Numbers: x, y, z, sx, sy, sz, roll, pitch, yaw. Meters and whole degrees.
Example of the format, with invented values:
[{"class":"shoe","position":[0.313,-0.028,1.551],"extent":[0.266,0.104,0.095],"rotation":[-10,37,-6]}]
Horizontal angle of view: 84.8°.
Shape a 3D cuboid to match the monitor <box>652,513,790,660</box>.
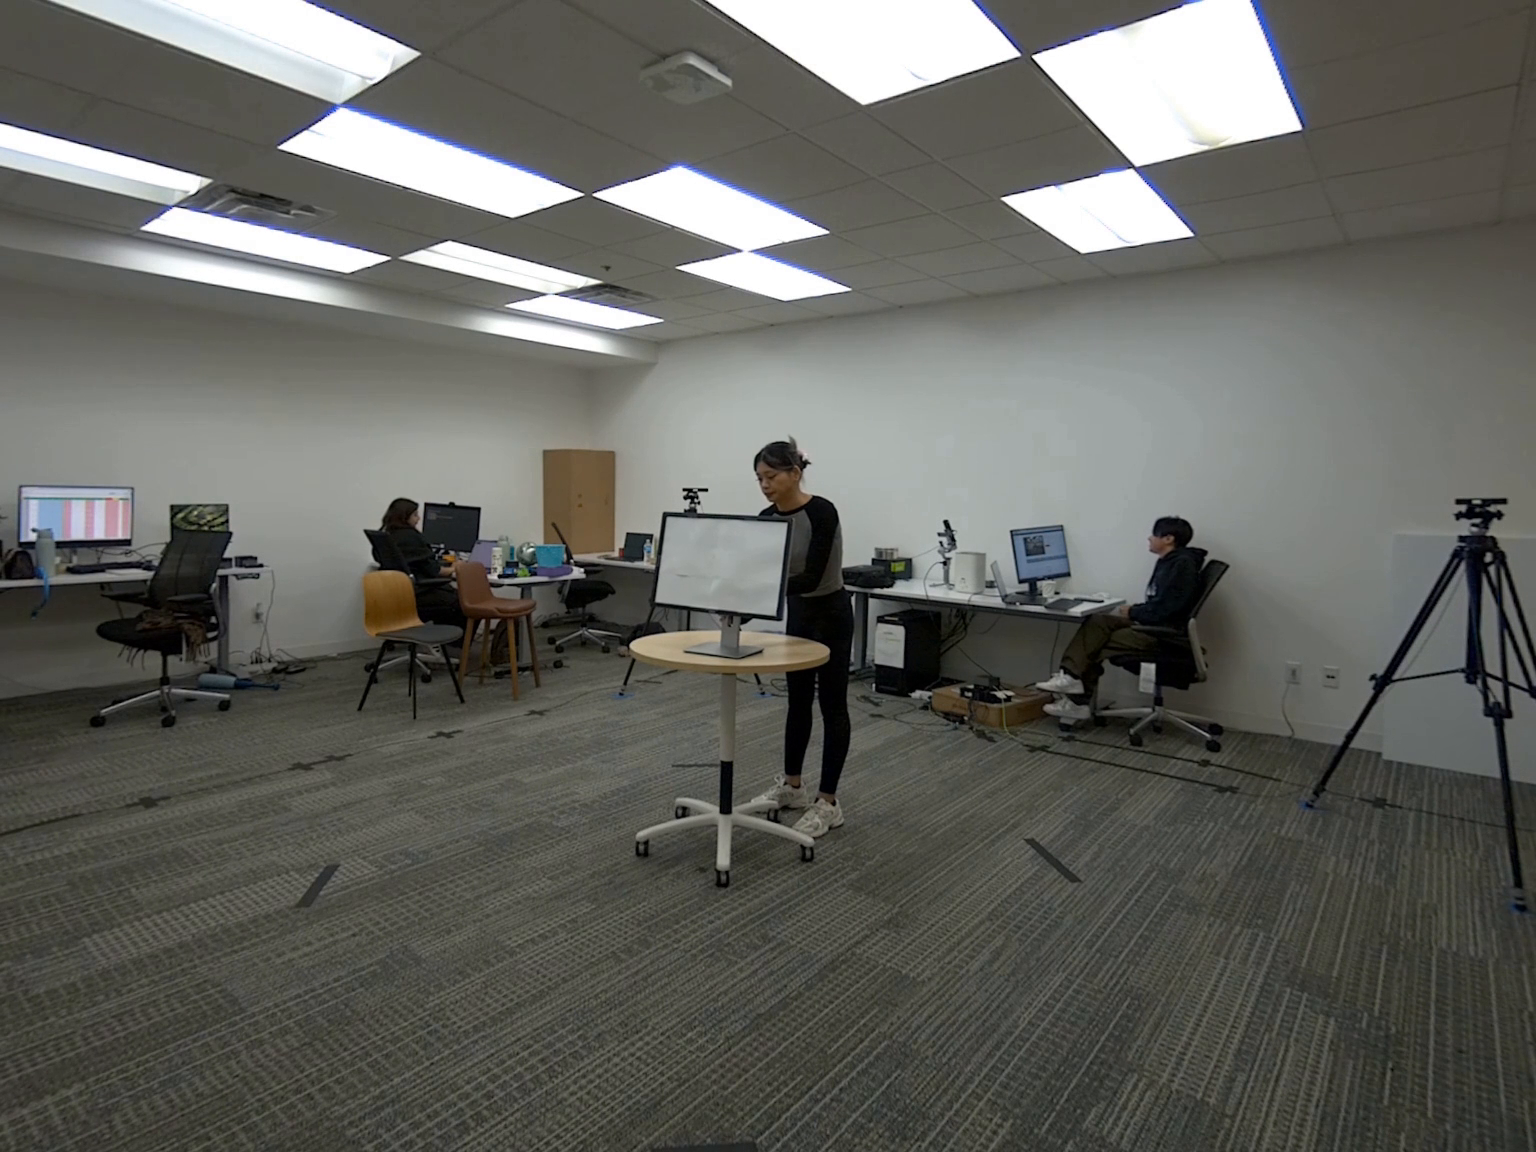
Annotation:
[{"class":"monitor","position":[-0.170,0.031,3.129],"extent":[0.546,0.510,0.171],"rotation":[5,13,30]}]
